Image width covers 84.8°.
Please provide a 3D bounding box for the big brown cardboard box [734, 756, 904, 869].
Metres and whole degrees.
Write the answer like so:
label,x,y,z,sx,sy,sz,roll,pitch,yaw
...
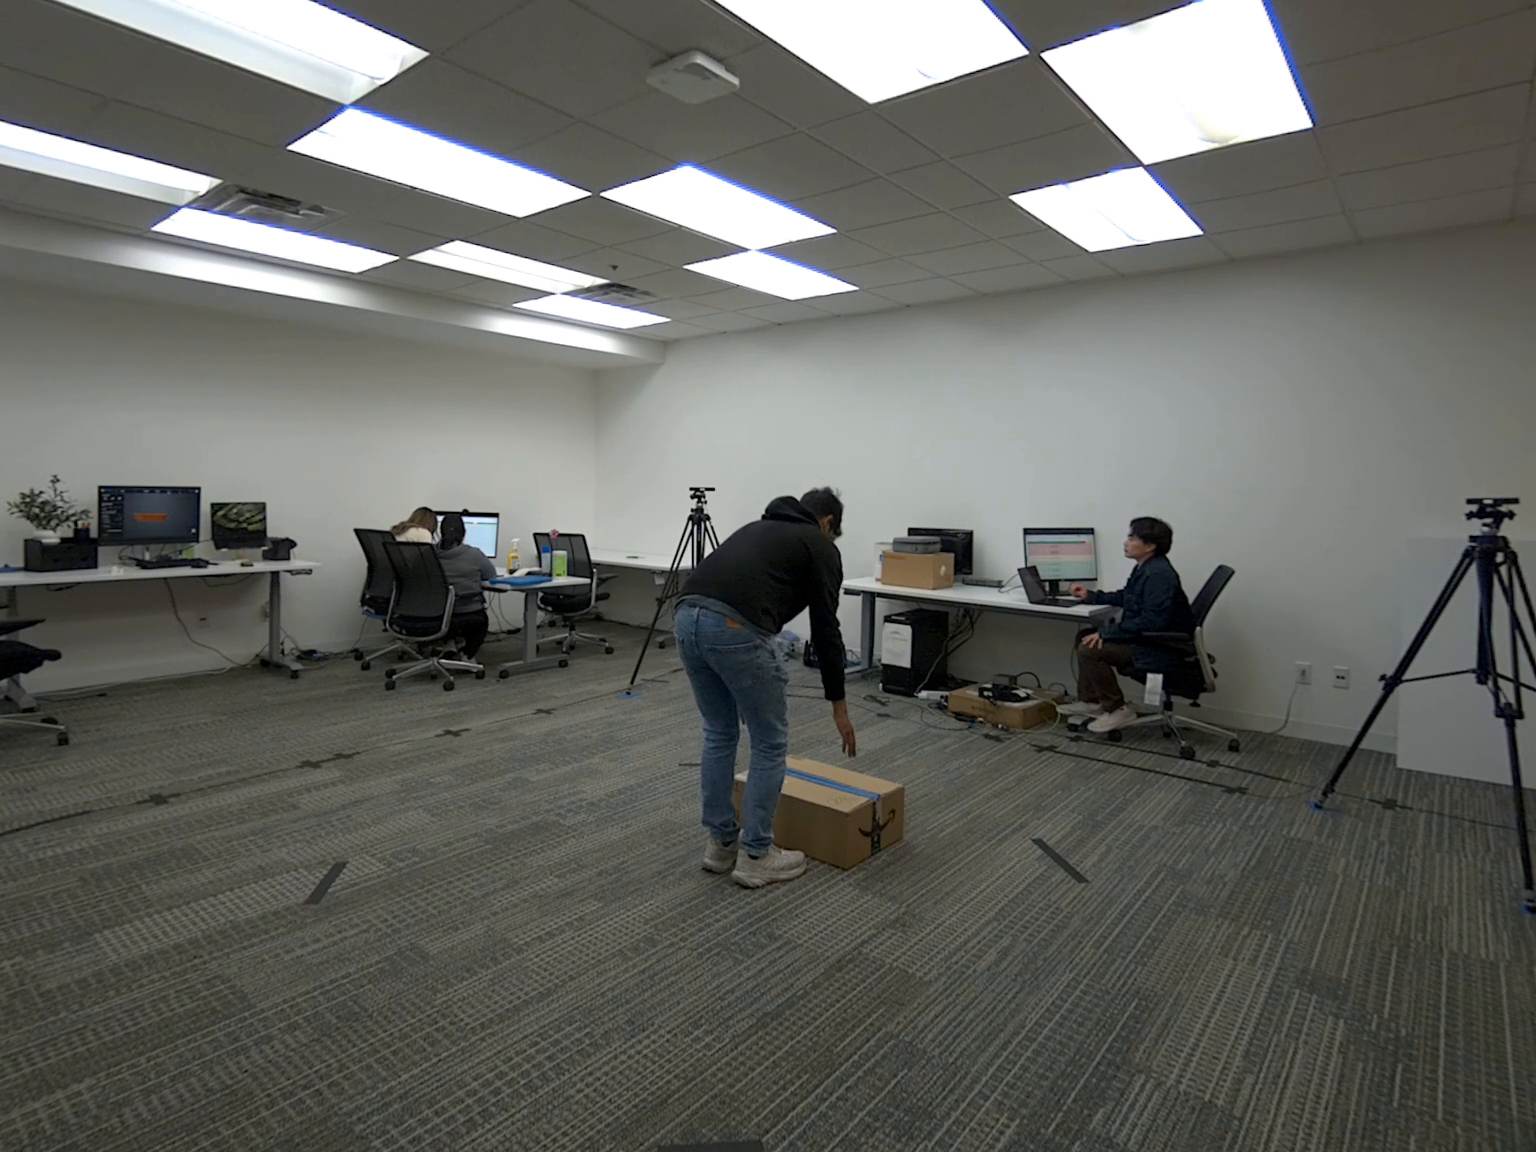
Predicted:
label,x,y,z,sx,sy,sz,roll,pitch,yaw
big brown cardboard box,0.183,0.928,3.445,0.609,0.232,0.405,6,7,39
